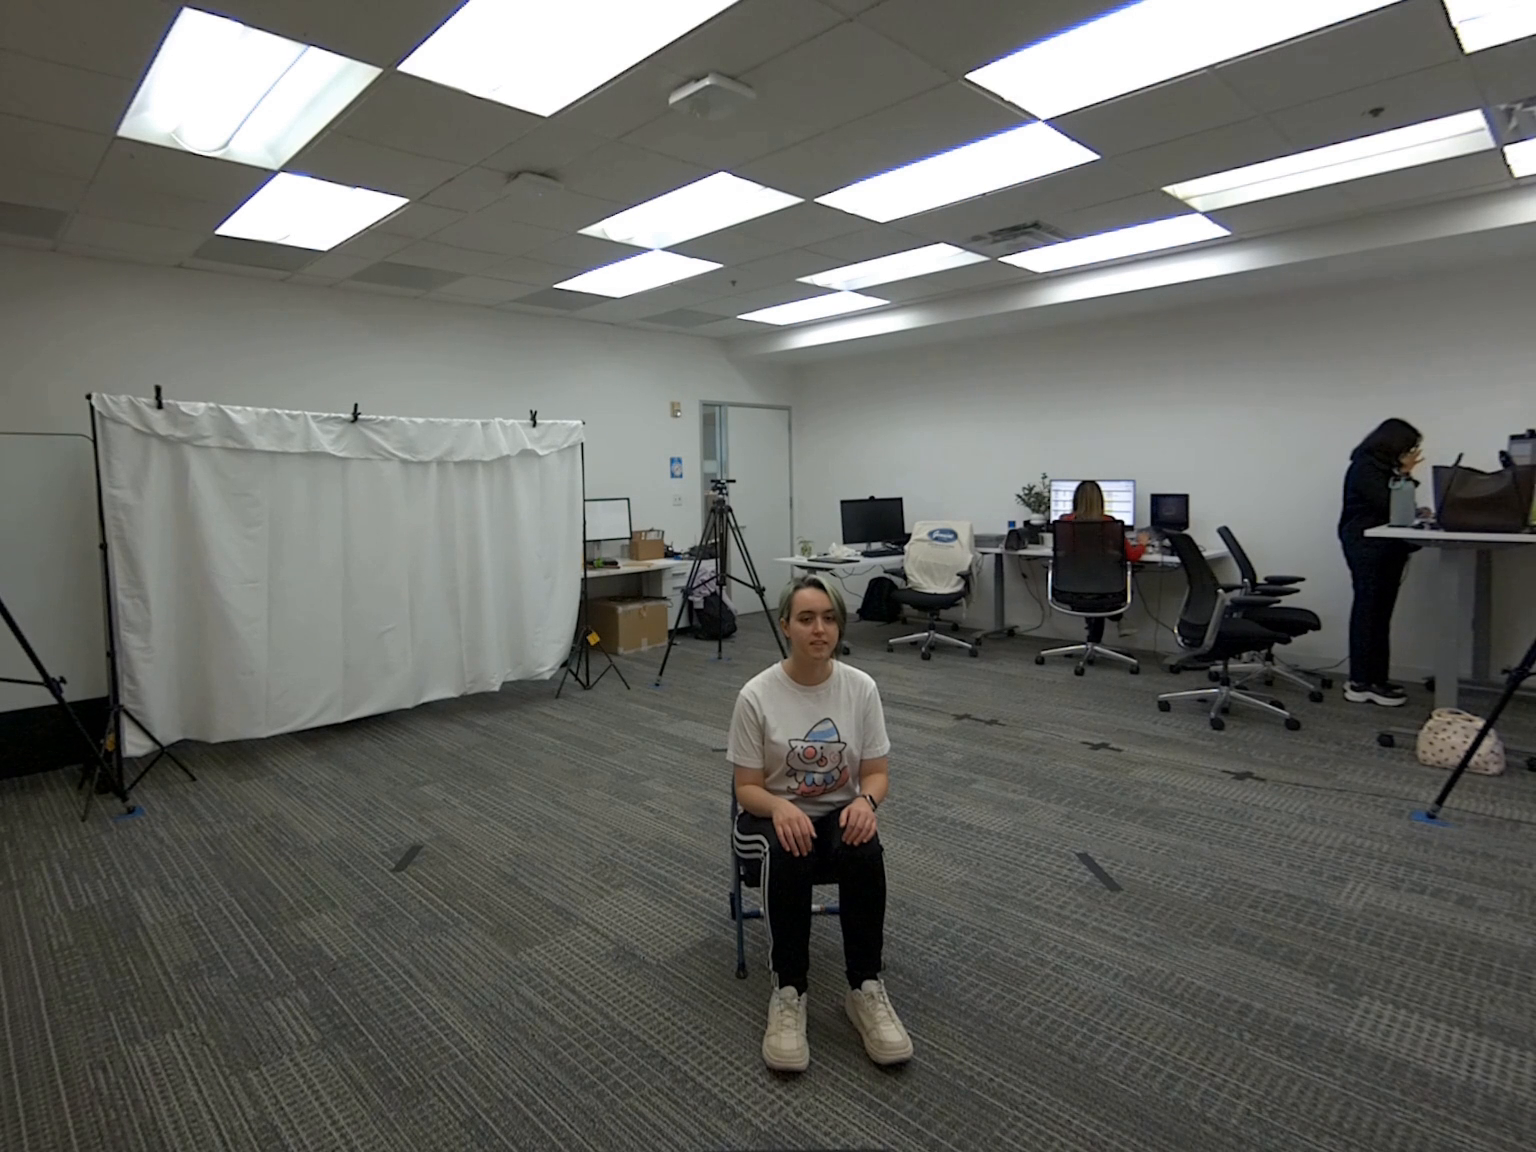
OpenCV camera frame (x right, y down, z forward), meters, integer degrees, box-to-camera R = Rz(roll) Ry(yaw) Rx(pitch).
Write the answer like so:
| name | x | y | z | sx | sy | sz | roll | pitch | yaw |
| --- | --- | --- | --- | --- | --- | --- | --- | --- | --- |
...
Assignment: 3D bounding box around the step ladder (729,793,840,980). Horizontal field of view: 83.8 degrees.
| name | x | y | z | sx | sy | sz | roll | pitch | yaw |
| --- | --- | --- | --- | --- | --- | --- | --- | --- | --- |
| step ladder | 0.108 | 0.812 | 2.567 | 0.429 | 0.603 | 0.353 | -2 | 5 | -5 |
